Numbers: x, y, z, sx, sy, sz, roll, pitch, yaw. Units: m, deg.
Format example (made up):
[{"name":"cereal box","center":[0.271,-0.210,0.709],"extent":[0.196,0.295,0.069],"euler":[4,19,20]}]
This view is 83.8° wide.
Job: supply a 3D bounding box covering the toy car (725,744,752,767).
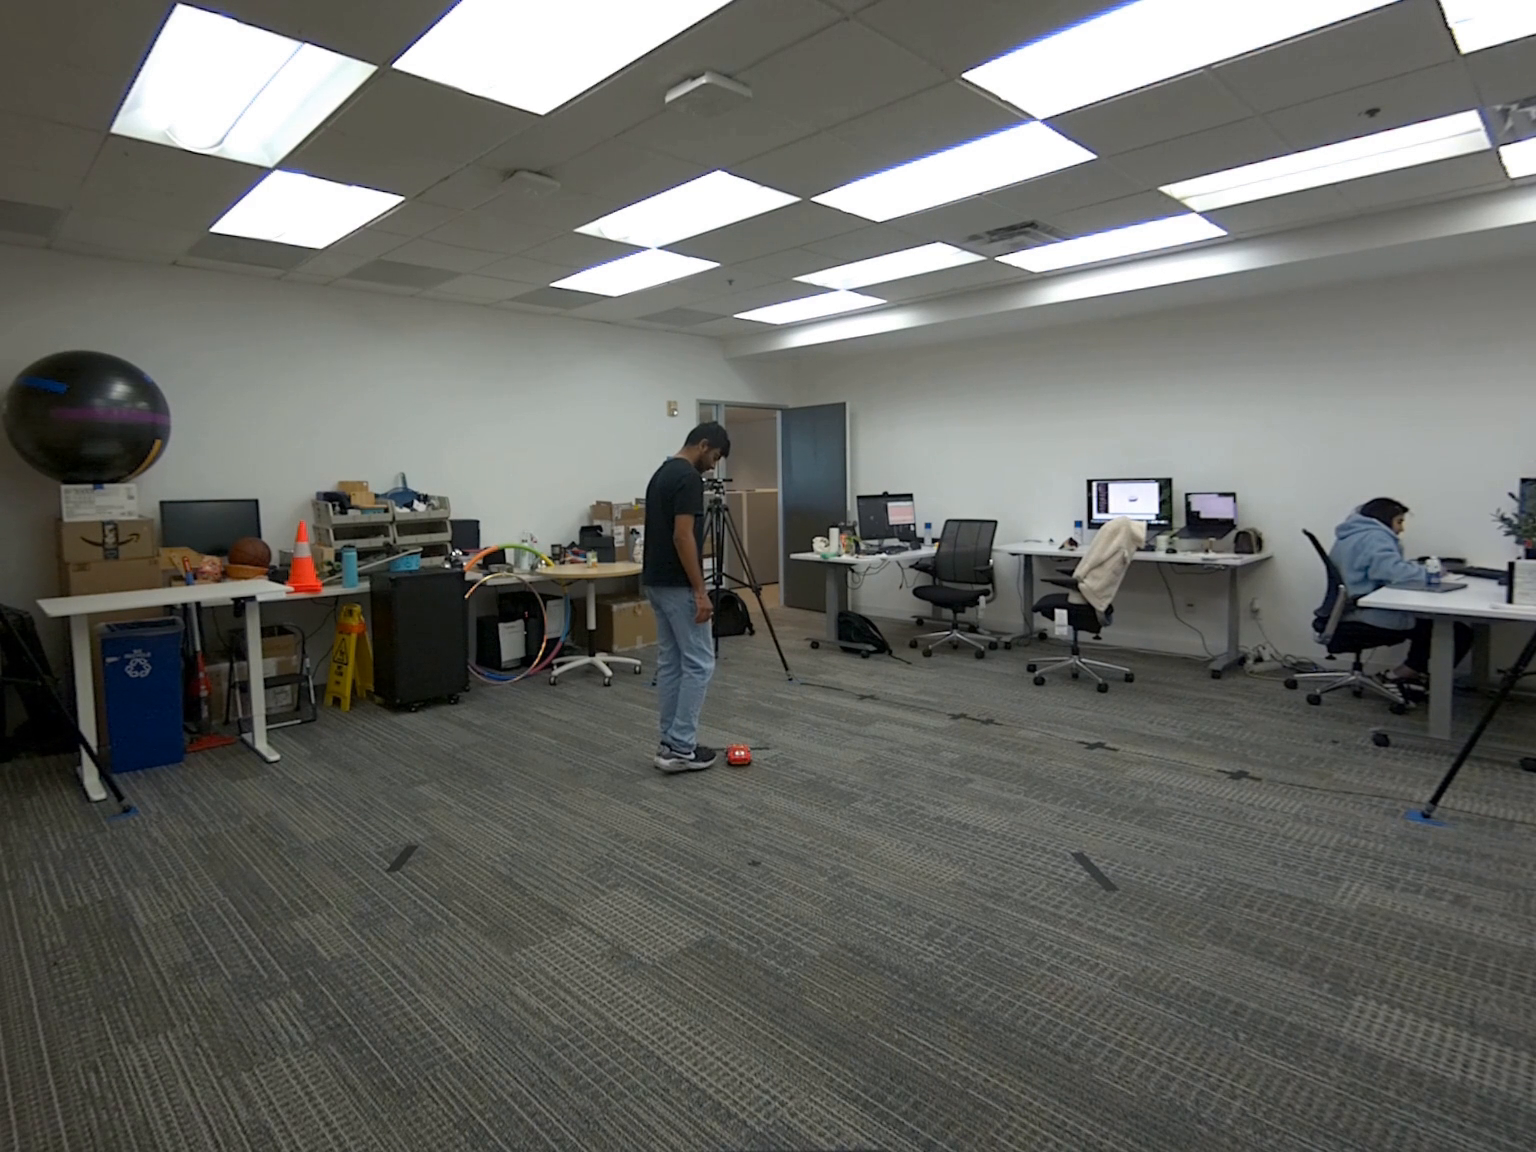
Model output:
[{"name":"toy car","center":[-0.148,0.884,4.243],"extent":[0.130,0.083,0.254],"euler":[0,-4,-3]}]
